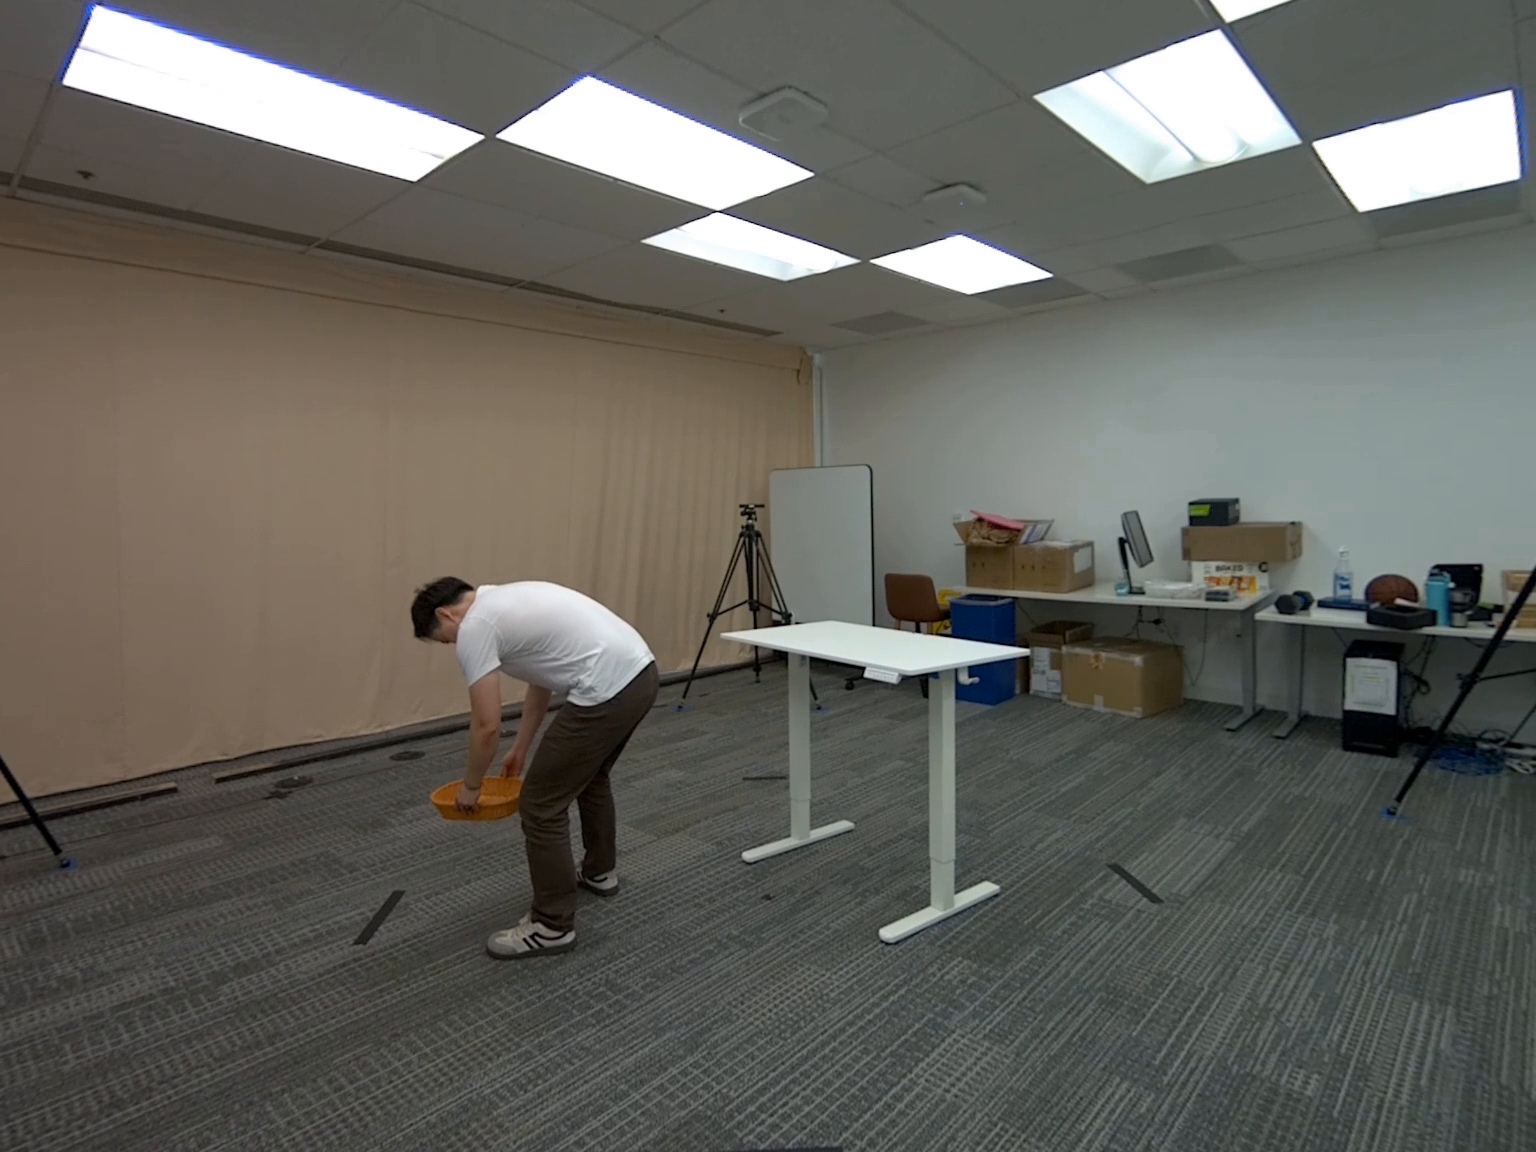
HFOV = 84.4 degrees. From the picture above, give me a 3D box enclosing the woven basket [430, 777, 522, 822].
[{"bbox_3d":[-0.998,0.780,2.906,0.352,0.073,0.252,-3,6,5],"label":"woven basket"}]
